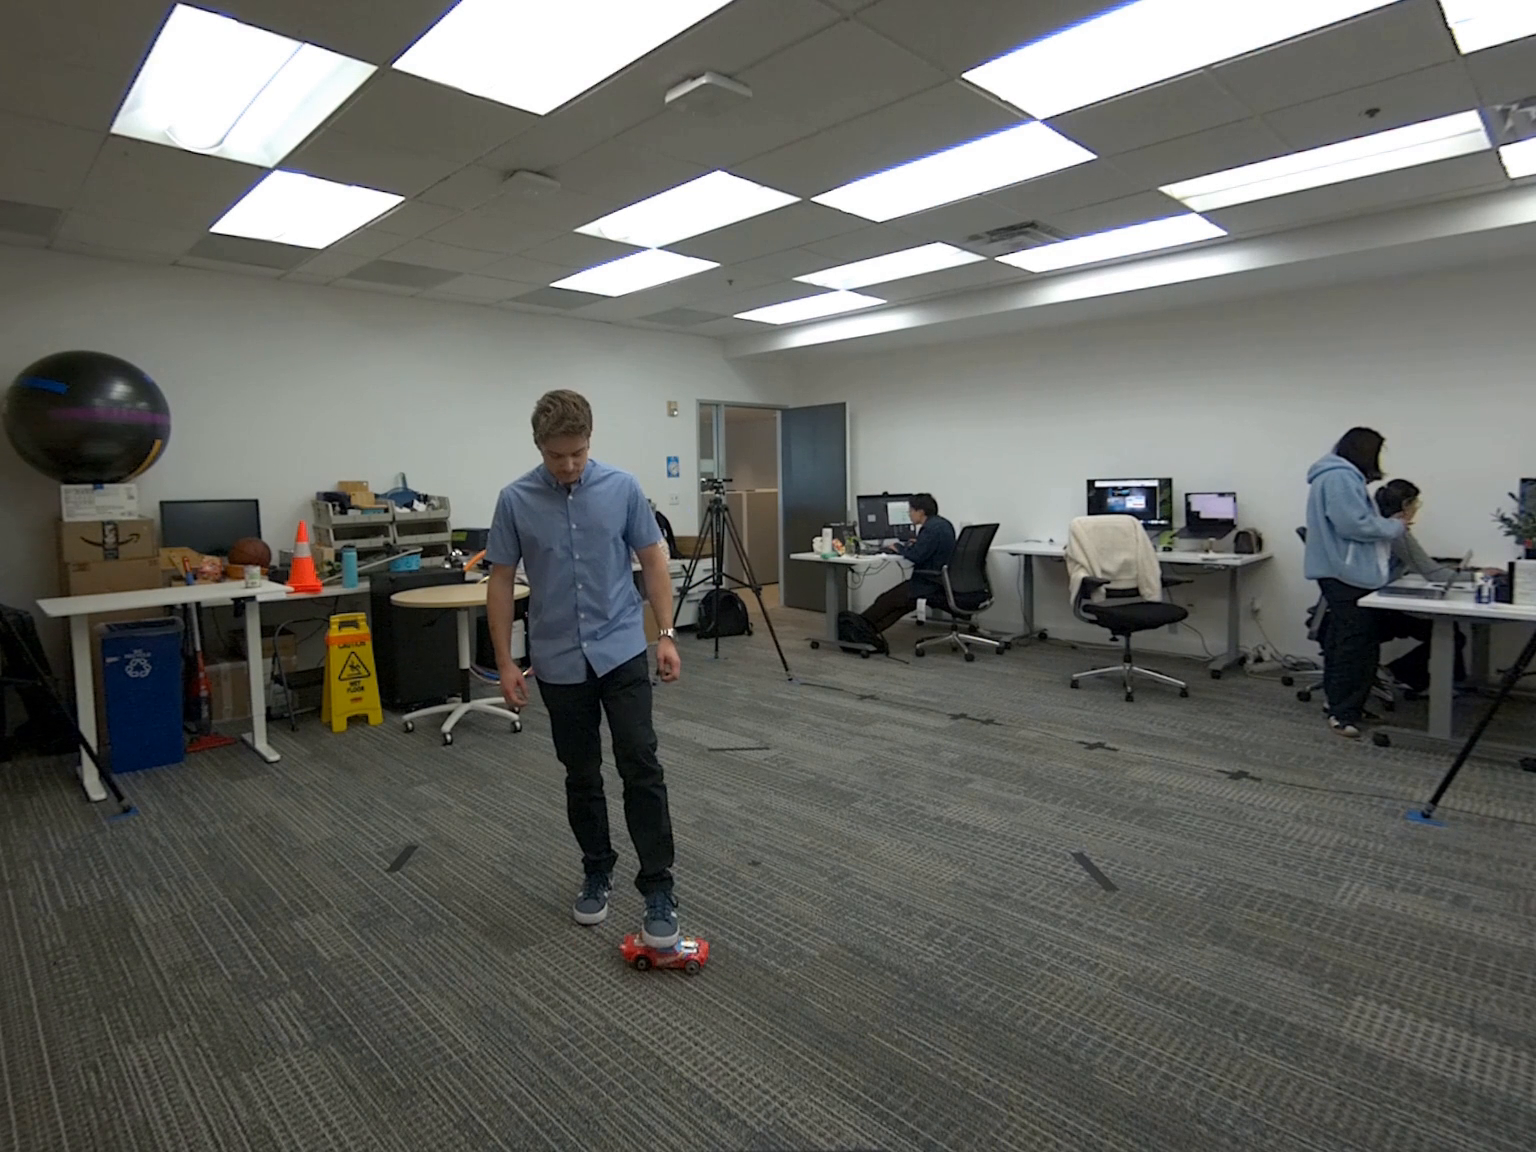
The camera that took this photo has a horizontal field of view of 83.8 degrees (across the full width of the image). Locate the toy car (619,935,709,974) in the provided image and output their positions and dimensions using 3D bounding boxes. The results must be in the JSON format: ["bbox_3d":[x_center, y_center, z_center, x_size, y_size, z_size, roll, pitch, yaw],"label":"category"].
[{"bbox_3d":[-0.300,1.094,2.483,0.256,0.083,0.130,10,6,6],"label":"toy car"}]
